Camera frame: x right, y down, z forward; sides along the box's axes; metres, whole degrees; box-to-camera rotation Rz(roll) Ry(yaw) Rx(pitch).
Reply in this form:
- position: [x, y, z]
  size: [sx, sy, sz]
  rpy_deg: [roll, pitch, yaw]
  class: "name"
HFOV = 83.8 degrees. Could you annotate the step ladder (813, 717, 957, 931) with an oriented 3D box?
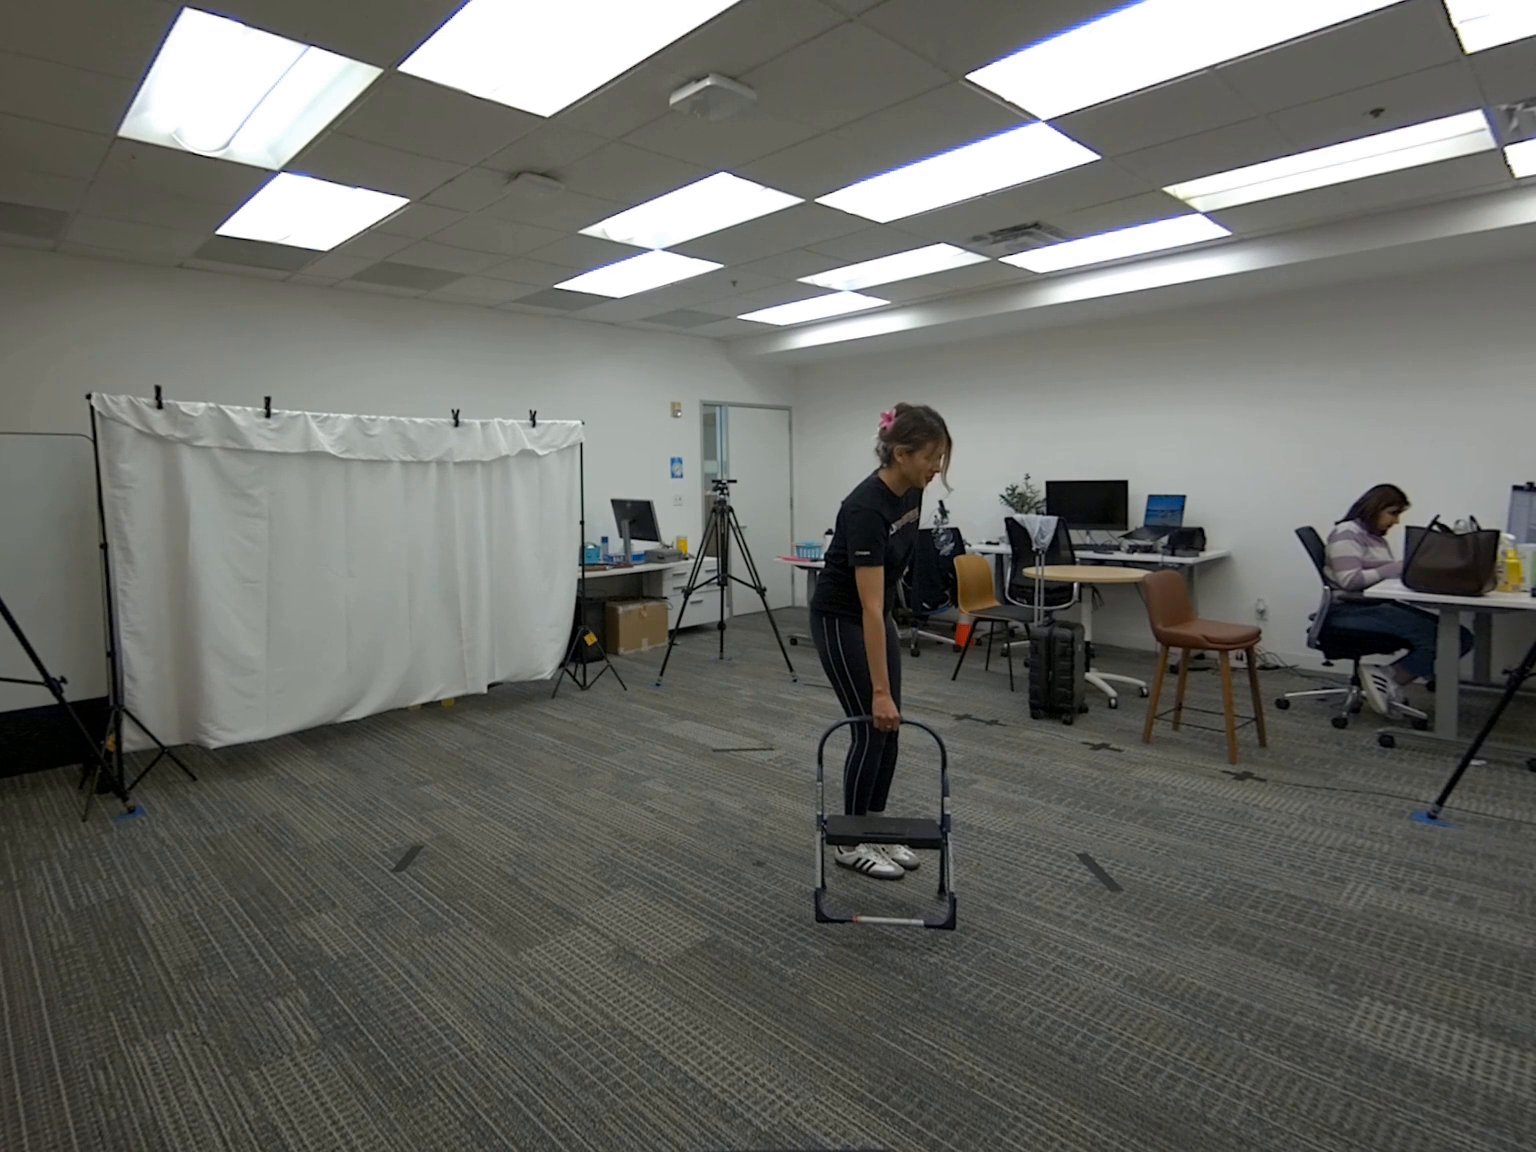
- position: [0.363, 0.754, 2.722]
  size: [0.434, 0.609, 0.345]
  rpy_deg: [-1, -5, 7]
  class: "step ladder"
